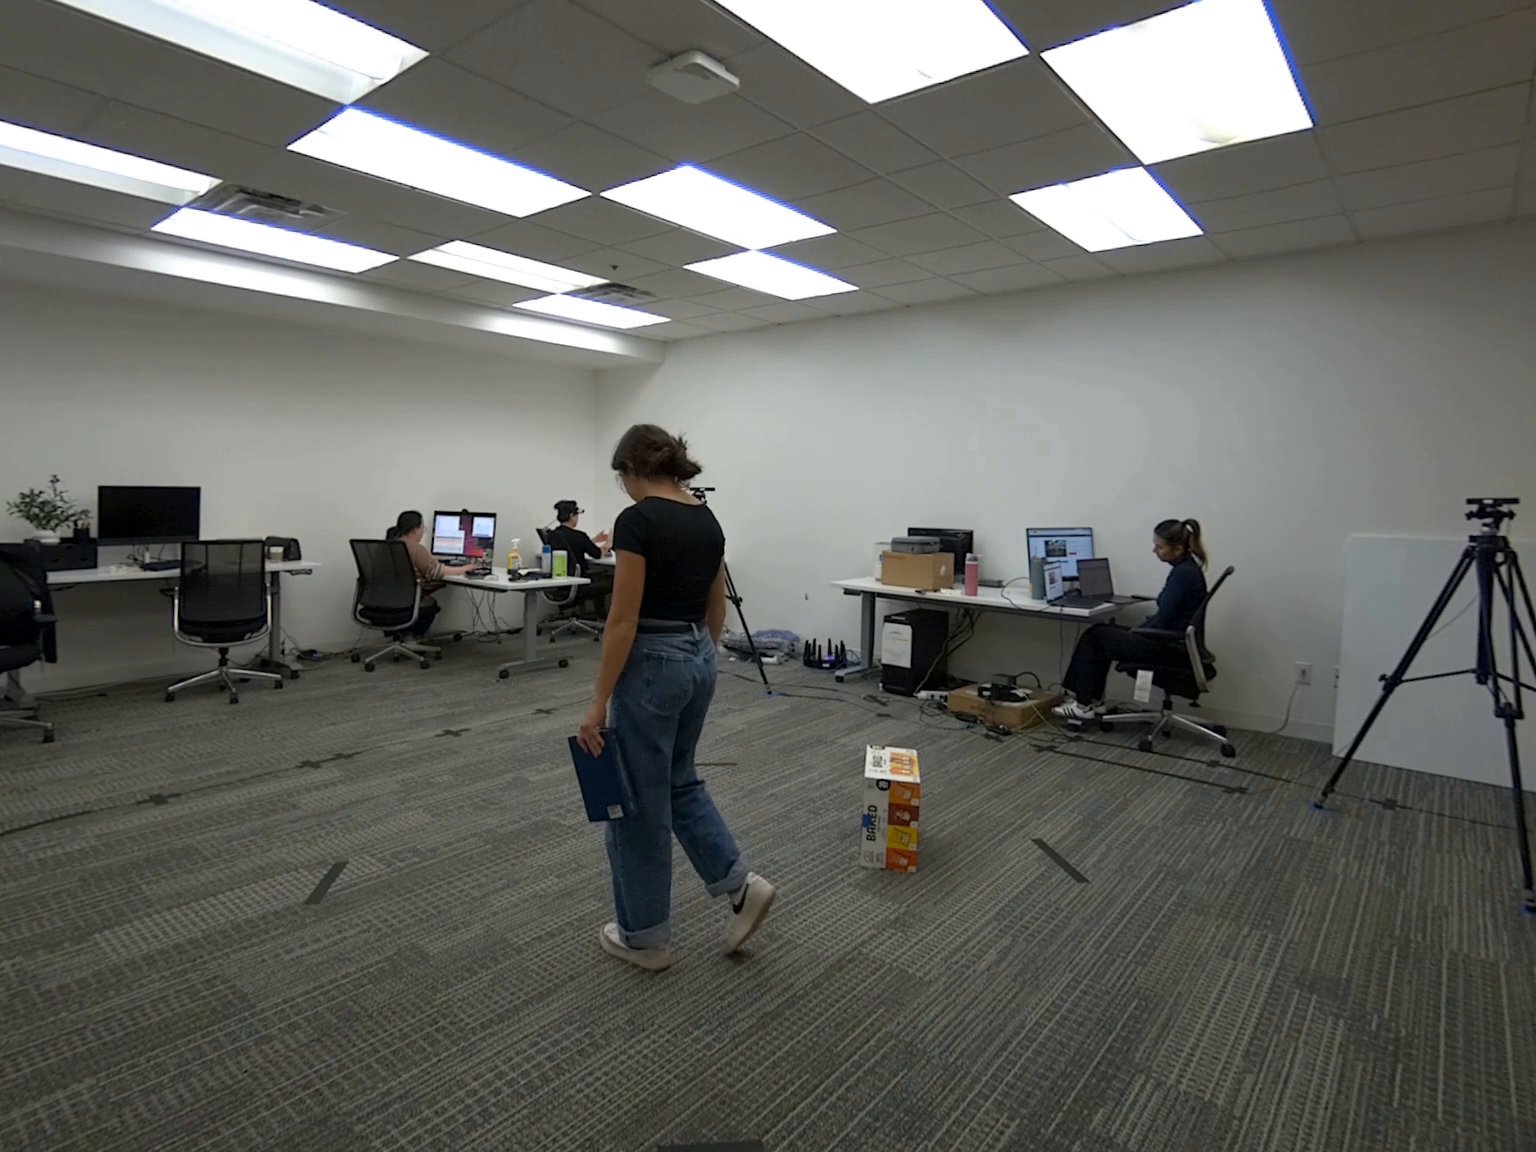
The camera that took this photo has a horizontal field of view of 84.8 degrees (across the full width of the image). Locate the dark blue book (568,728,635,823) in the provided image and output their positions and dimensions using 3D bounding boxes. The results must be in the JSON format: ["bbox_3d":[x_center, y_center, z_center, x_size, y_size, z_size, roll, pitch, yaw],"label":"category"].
[{"bbox_3d":[-0.464,0.547,2.355,0.167,0.246,0.044,-15,-2,37],"label":"dark blue book"}]
